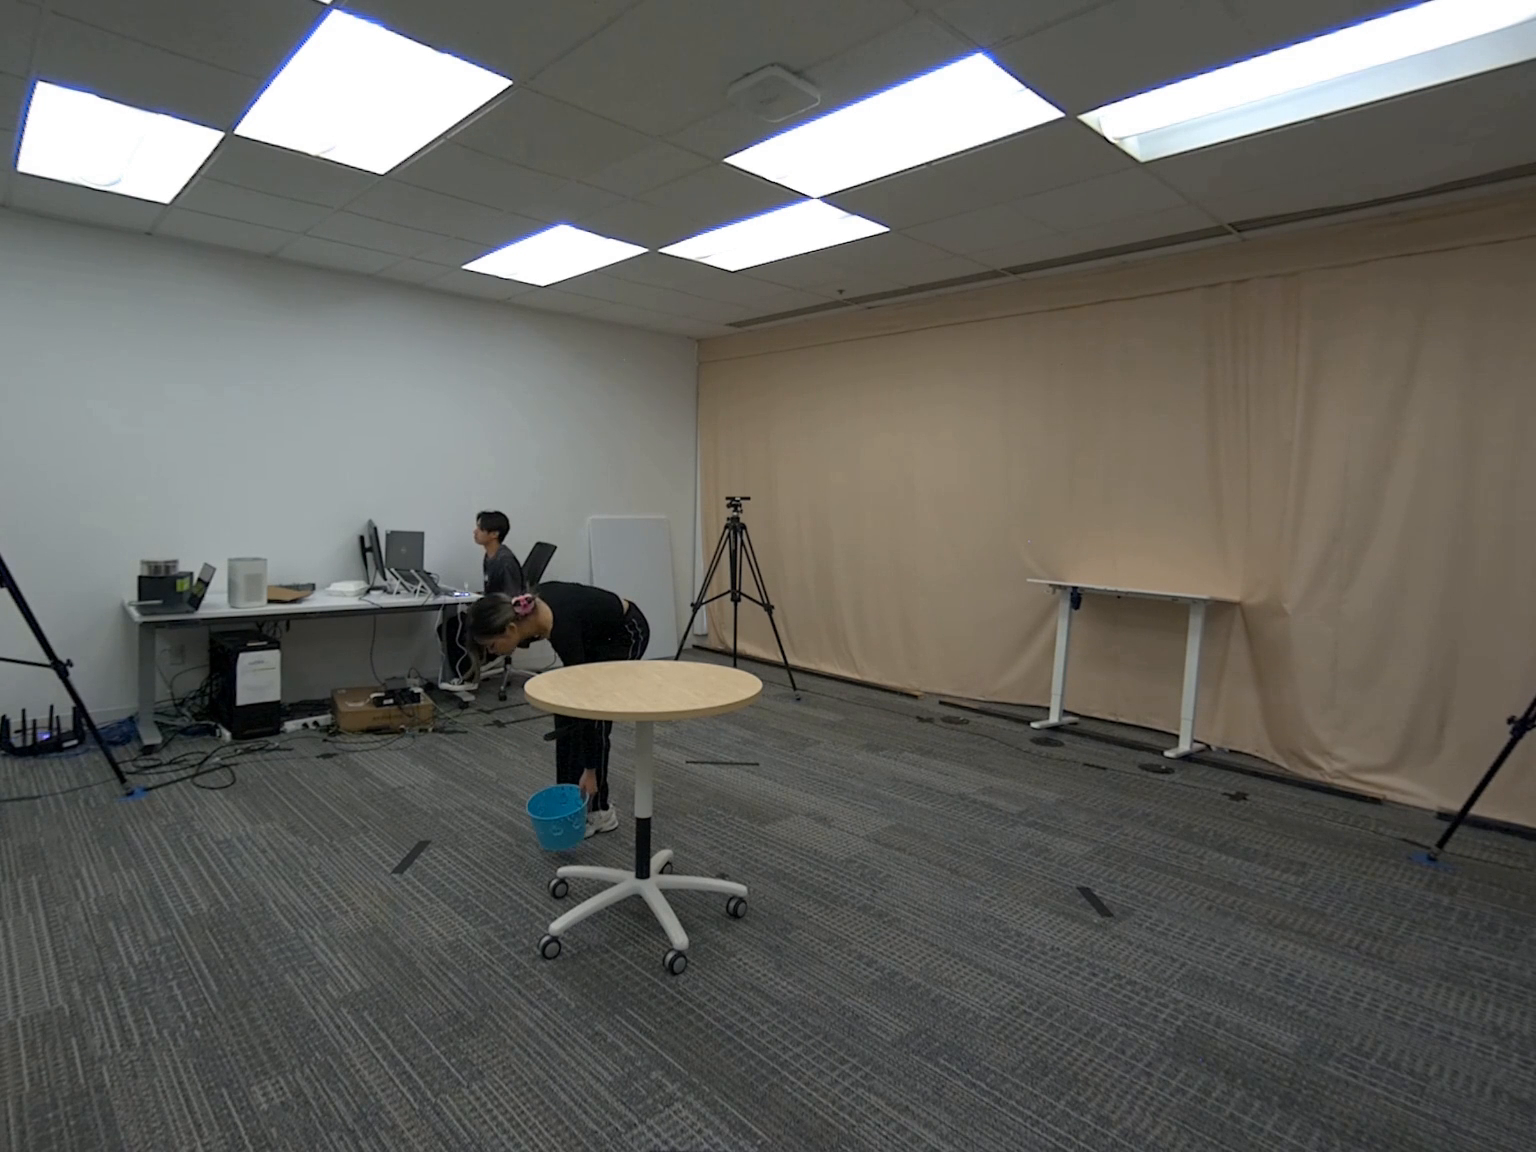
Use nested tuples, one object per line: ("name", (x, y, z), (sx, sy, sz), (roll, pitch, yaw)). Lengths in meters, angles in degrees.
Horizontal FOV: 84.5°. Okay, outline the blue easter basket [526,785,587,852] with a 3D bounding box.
("blue easter basket", (-0.806, 0.920, 3.193), (0.244, 0.154, 0.246), (-4, 16, 0))
